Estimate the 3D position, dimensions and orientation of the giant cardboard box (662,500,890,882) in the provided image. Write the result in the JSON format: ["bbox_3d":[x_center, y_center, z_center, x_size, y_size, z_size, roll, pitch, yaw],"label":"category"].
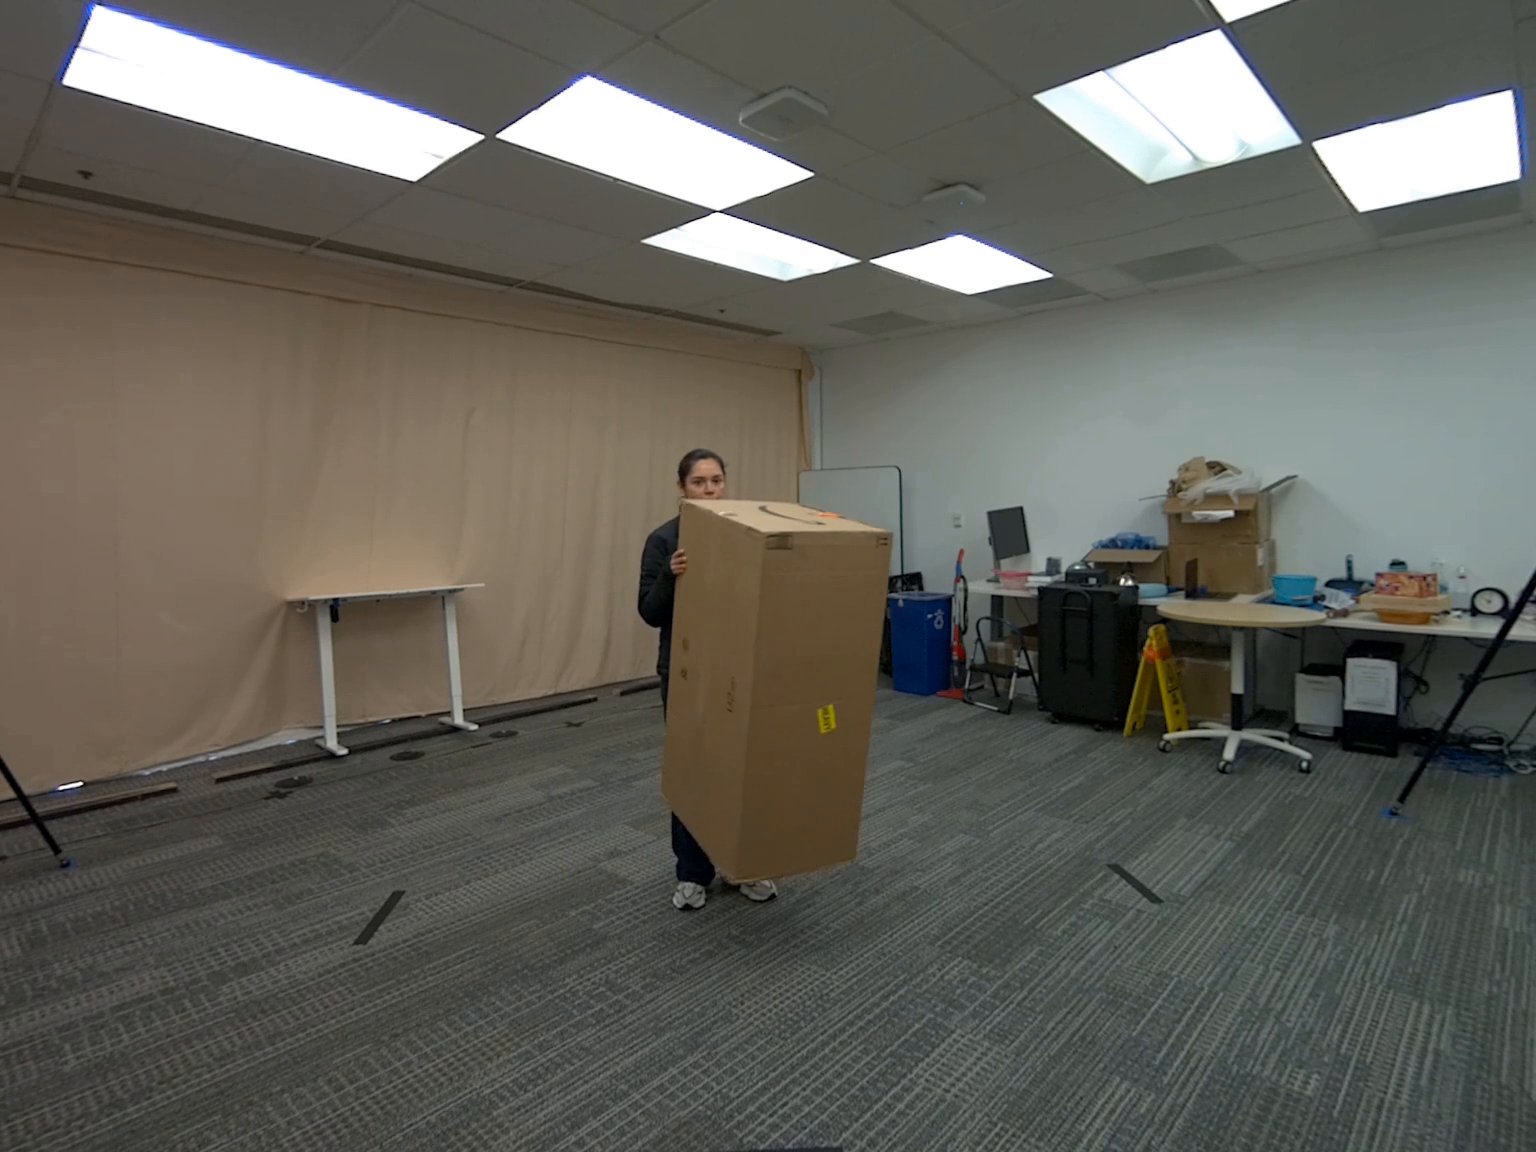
[{"bbox_3d":[0.012,0.316,2.636,0.415,1.020,0.596,0,12,-27],"label":"giant cardboard box"}]
